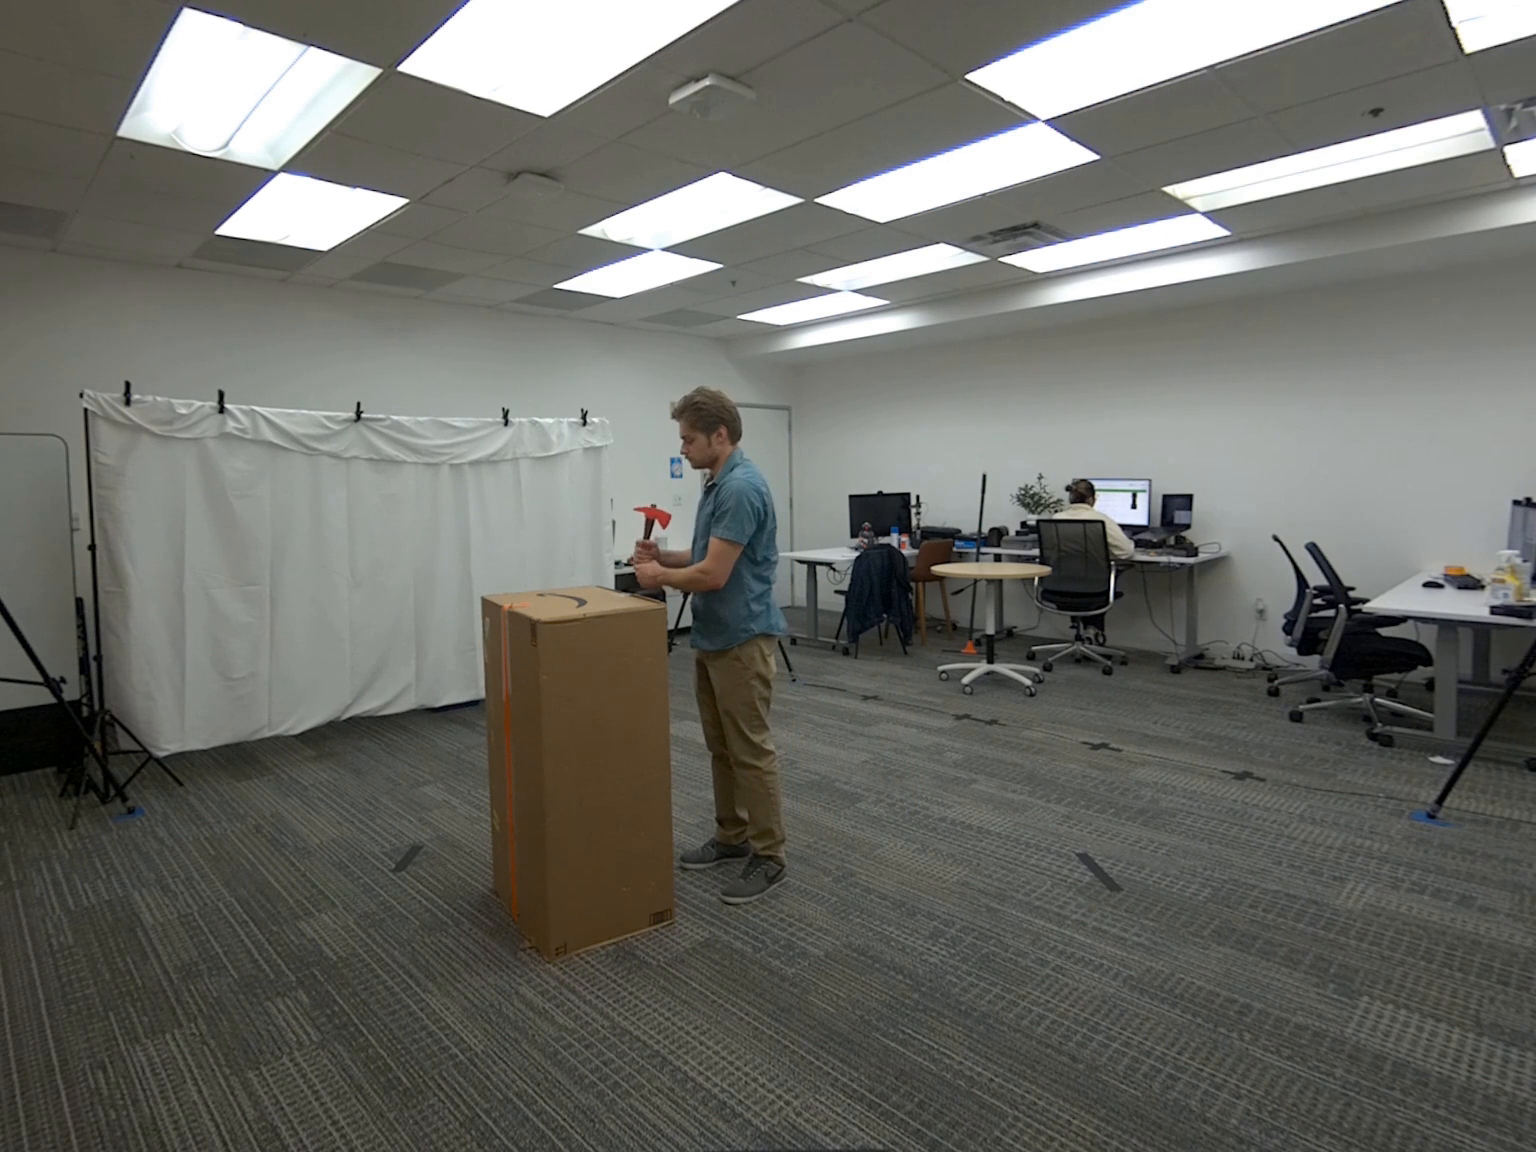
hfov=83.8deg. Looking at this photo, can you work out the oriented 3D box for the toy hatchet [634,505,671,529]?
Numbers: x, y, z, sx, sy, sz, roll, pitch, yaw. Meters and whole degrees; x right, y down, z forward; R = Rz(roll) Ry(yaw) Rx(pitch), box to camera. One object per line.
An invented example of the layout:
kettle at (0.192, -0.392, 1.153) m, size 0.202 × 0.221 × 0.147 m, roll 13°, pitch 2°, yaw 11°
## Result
toy hatchet at (-0.390, -0.115, 2.987) m, size 0.130 × 0.268 × 0.030 m, roll -11°, pitch 5°, yaw -5°
